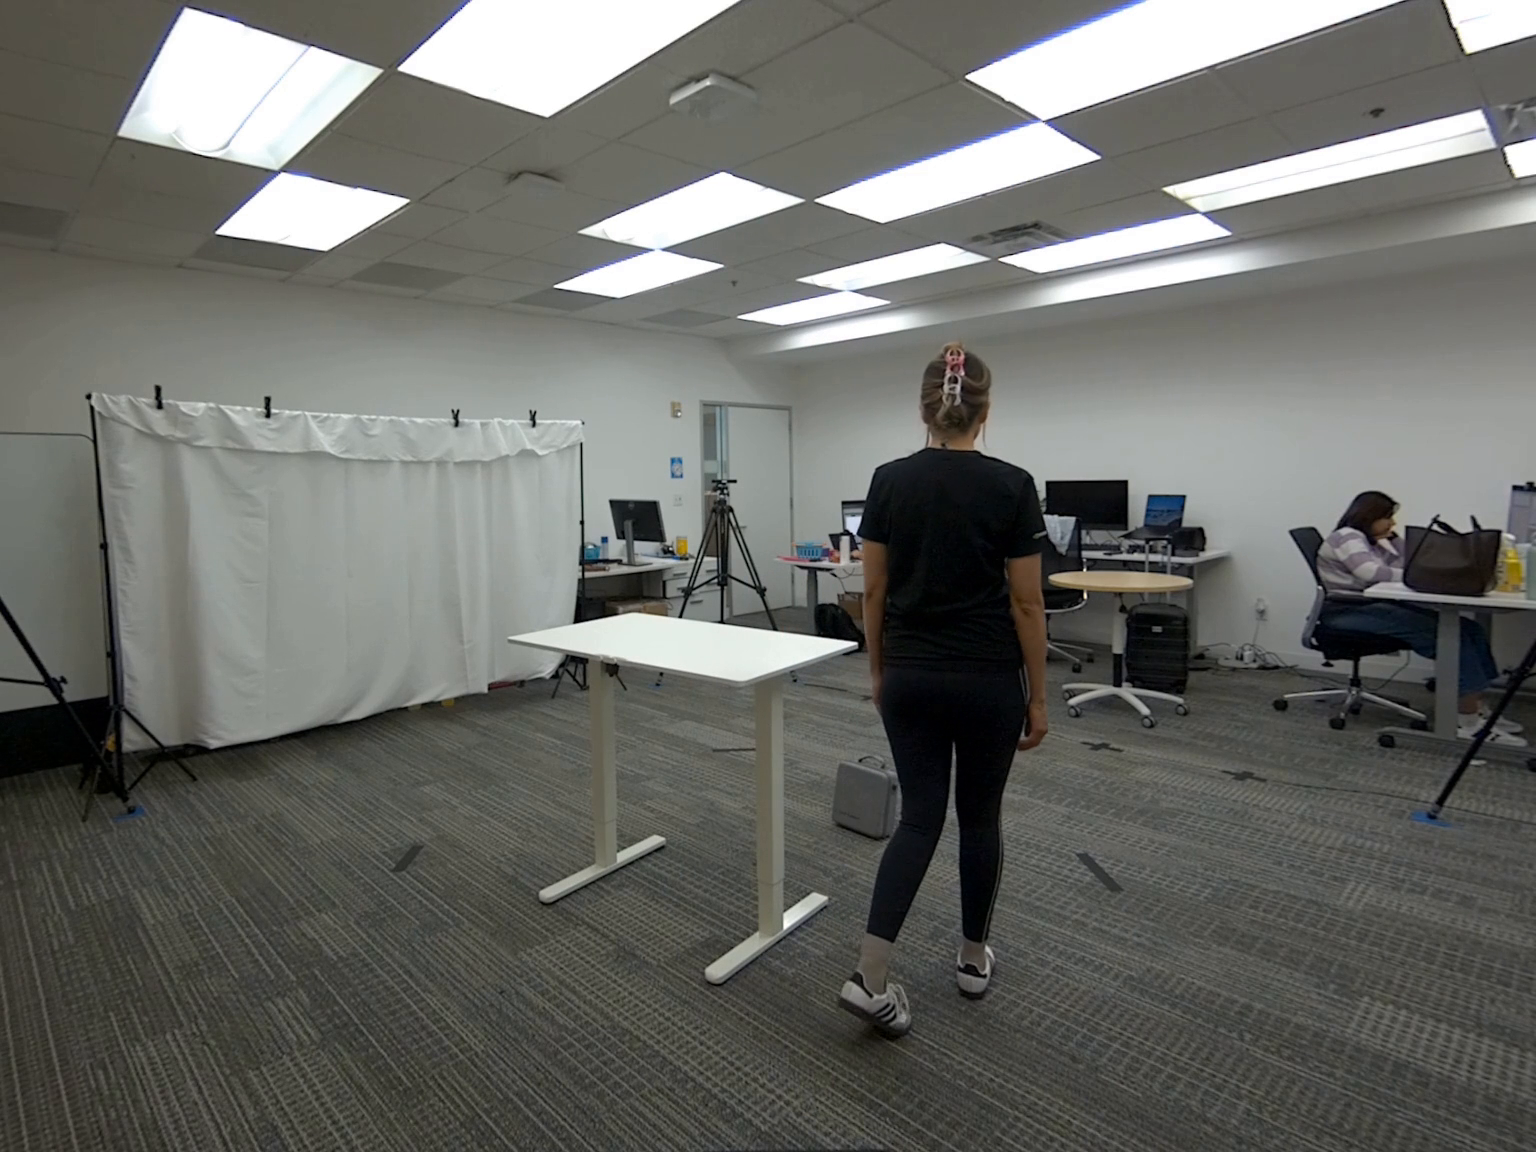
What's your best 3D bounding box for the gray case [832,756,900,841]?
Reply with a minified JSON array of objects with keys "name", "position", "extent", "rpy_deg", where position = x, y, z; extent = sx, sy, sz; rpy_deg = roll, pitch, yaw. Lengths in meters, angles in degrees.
[{"name":"gray case","position":[0.389,0.876,3.395],"extent":[0.101,0.261,0.265],"rpy_deg":[9,-3,-41]}]
